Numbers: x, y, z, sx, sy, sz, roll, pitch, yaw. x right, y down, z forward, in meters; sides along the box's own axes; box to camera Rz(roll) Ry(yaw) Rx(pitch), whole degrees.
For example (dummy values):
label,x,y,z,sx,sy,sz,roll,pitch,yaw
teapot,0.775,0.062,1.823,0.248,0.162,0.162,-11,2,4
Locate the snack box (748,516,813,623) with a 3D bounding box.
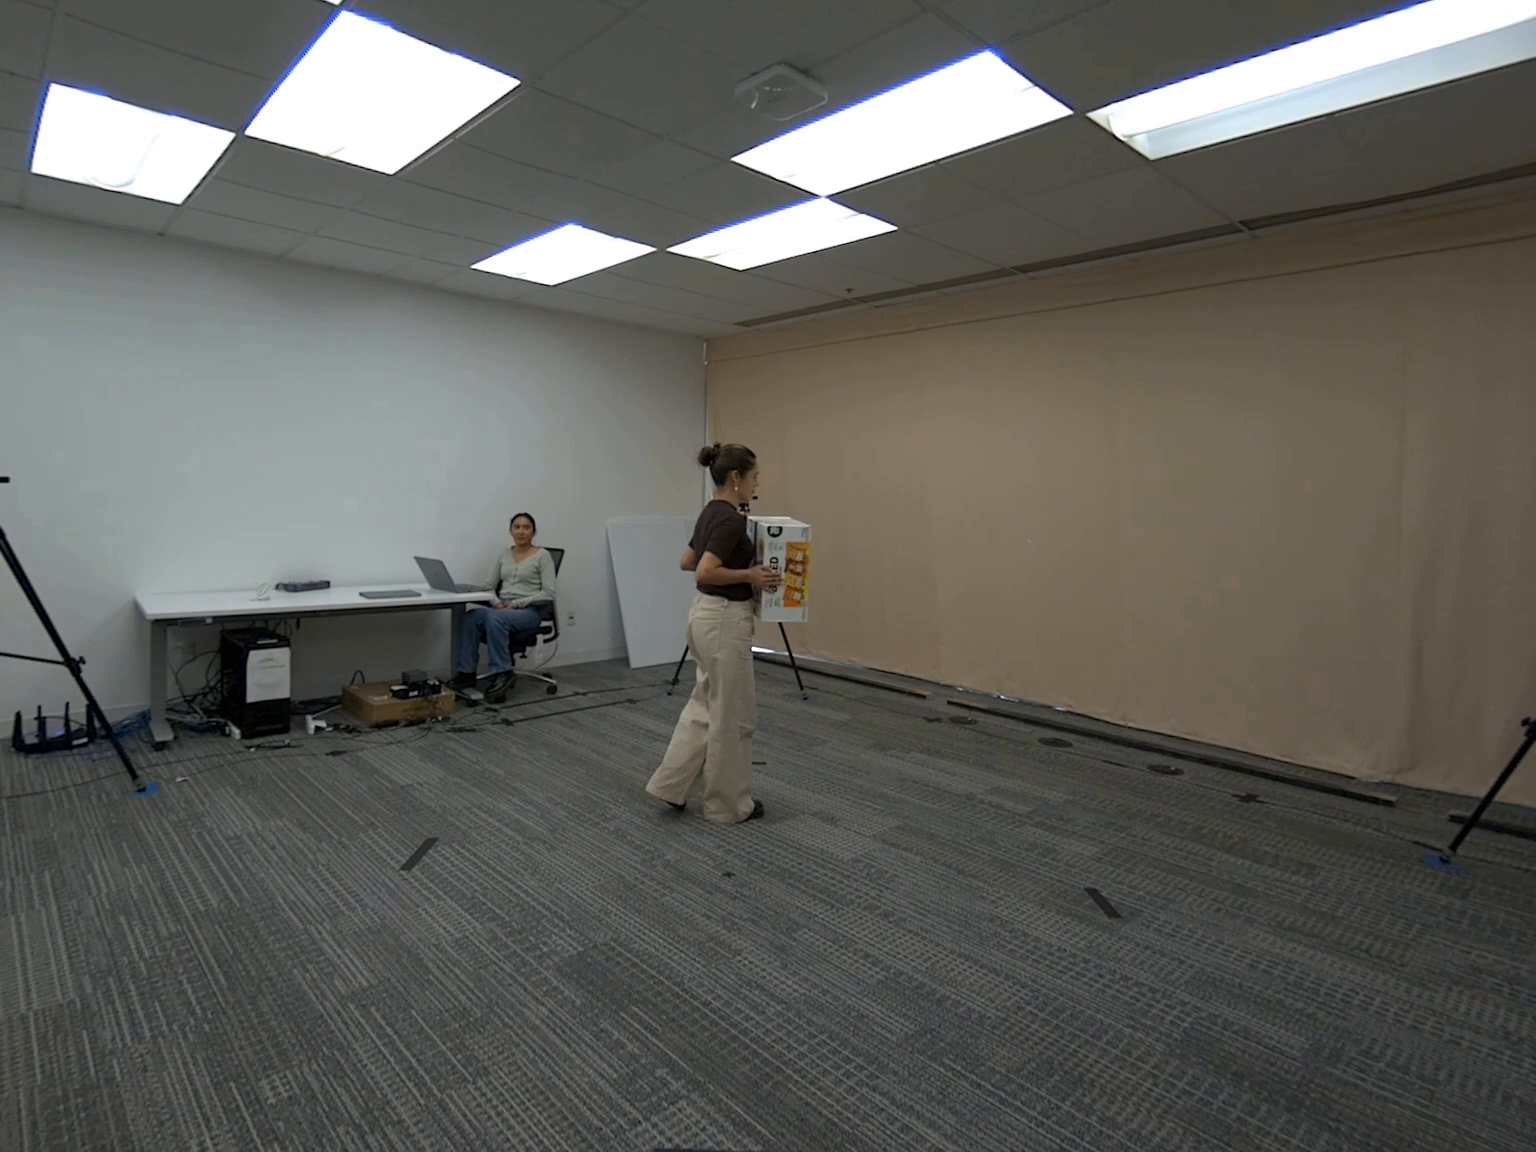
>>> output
label,x,y,z,sx,sy,sz,roll,pitch,yaw
snack box,0.029,-0.038,3.649,0.203,0.403,0.346,1,8,-14
